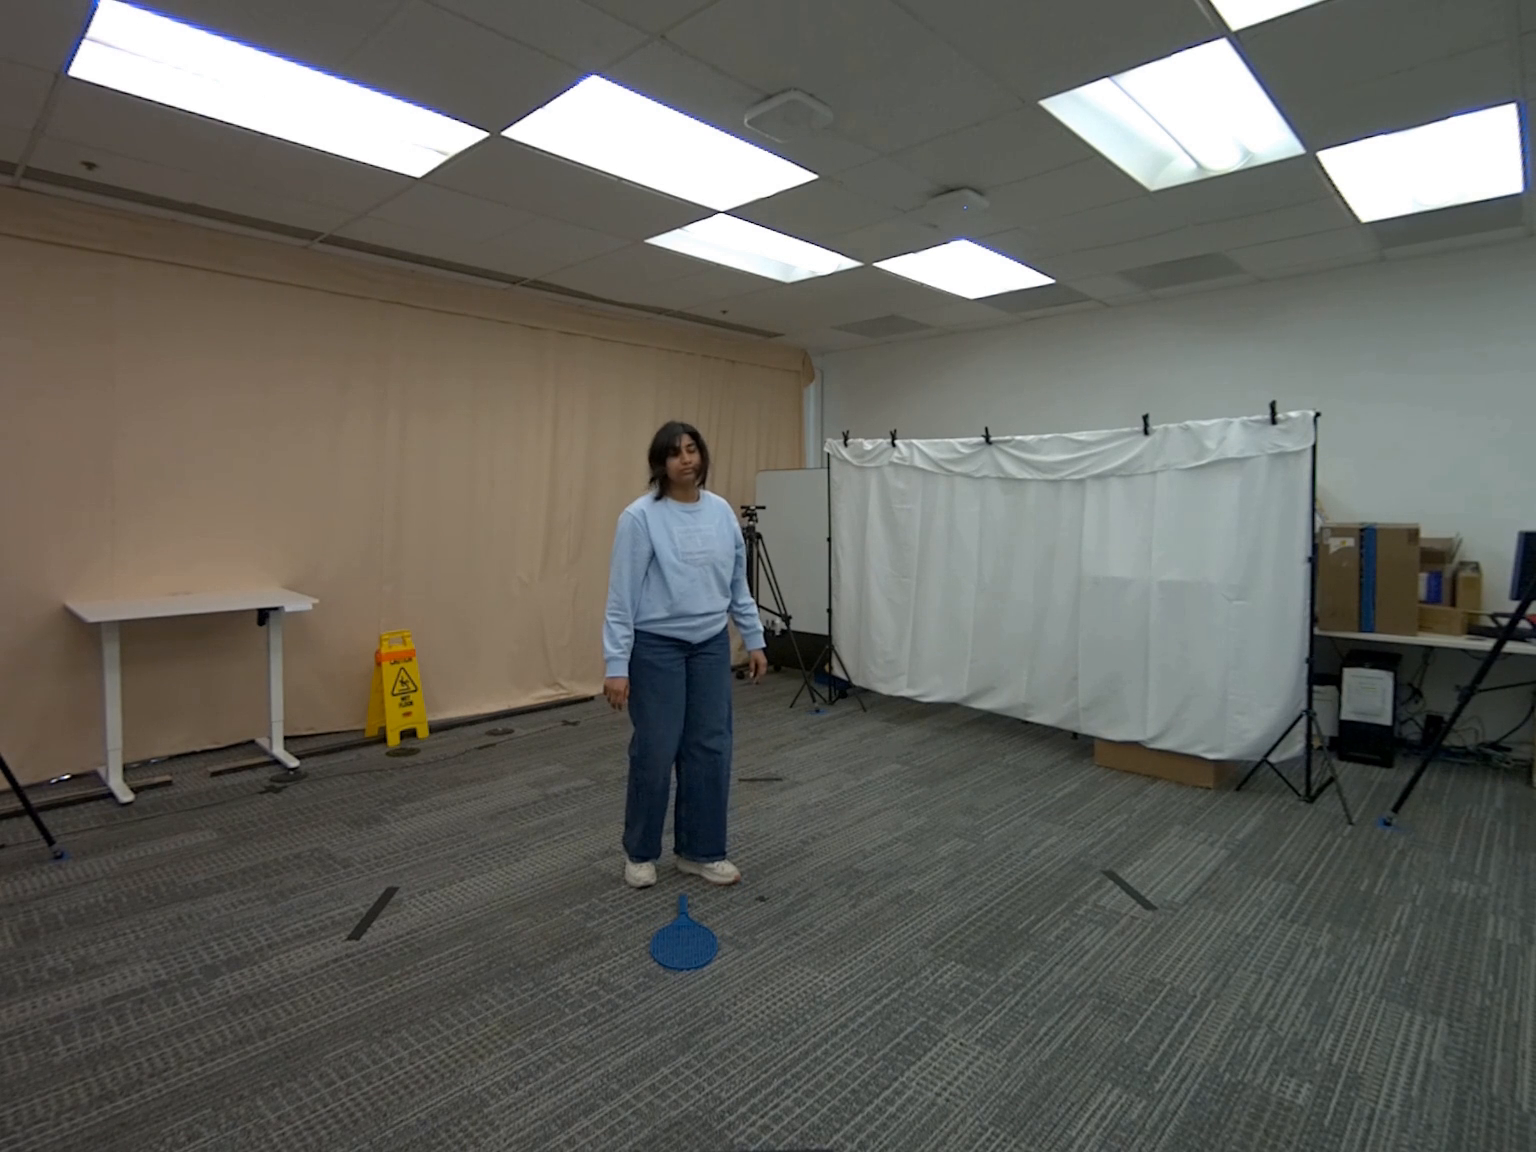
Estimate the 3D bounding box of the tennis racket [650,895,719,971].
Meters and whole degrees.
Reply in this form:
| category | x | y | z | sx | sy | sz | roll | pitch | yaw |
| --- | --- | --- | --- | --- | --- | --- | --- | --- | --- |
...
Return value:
| category | x | y | z | sx | sy | sz | roll | pitch | yaw |
| --- | --- | --- | --- | --- | --- | --- | --- | --- | --- |
| tennis racket | -0.271 | 1.148 | 2.737 | 0.213 | 0.031 | 0.436 | 0 | 6 | -4 |
